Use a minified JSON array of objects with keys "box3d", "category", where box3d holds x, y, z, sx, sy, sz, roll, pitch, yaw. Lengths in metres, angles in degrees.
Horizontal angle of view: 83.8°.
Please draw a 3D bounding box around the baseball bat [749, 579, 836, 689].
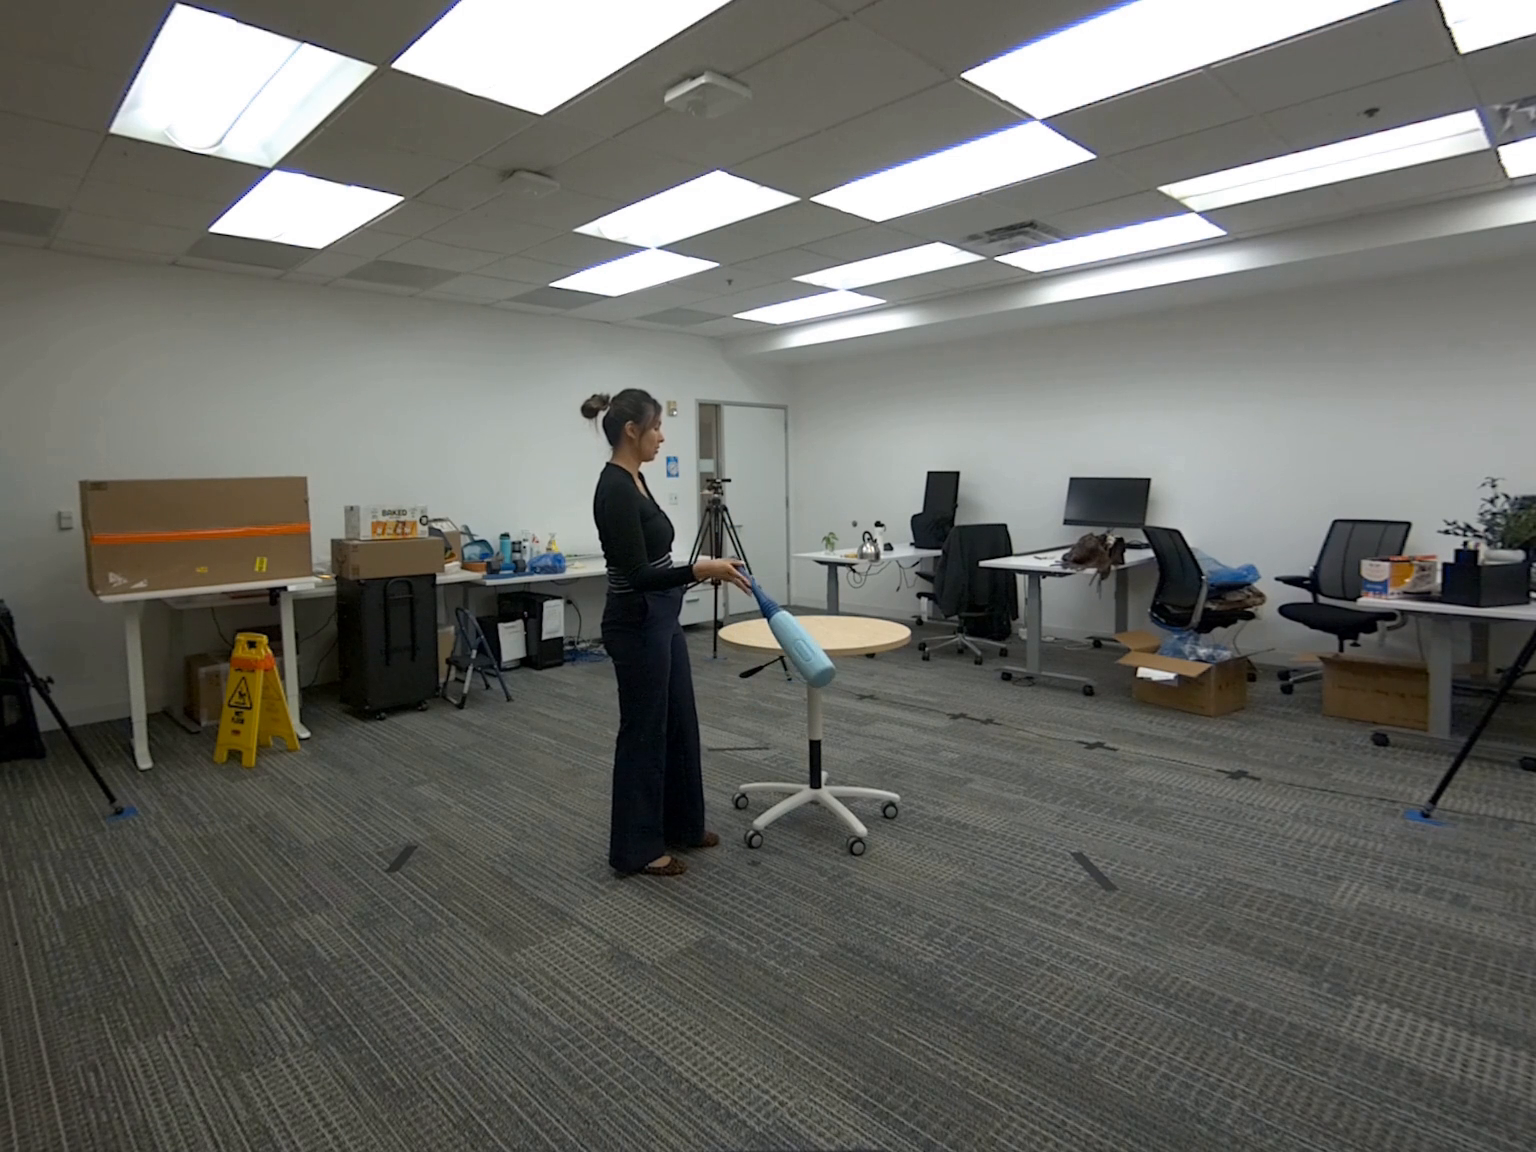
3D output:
[{"box3d":[0.019,0.126,2.507,0.087,0.088,0.564,-4,39,-35],"category":"baseball bat"}]
